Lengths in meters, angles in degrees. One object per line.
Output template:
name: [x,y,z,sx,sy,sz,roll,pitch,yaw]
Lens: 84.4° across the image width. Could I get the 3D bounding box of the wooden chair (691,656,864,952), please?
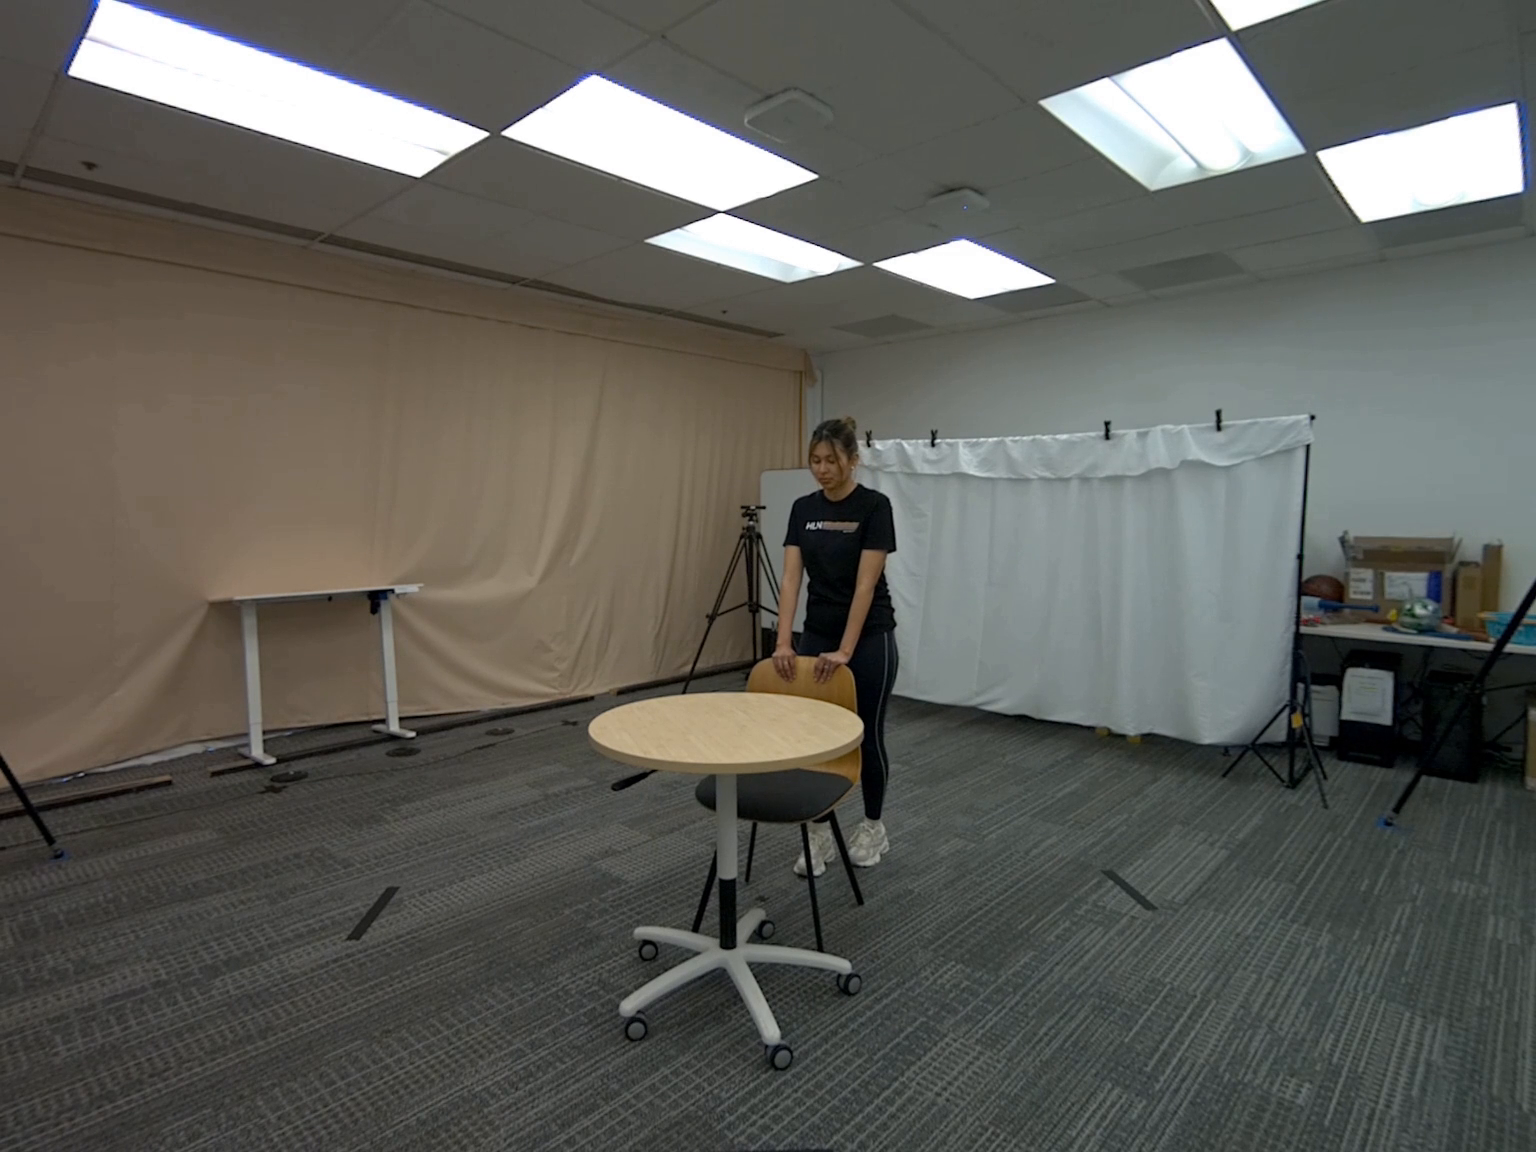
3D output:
wooden chair: [0.042,0.731,2.793,0.490,0.877,0.510,2,0,24]
